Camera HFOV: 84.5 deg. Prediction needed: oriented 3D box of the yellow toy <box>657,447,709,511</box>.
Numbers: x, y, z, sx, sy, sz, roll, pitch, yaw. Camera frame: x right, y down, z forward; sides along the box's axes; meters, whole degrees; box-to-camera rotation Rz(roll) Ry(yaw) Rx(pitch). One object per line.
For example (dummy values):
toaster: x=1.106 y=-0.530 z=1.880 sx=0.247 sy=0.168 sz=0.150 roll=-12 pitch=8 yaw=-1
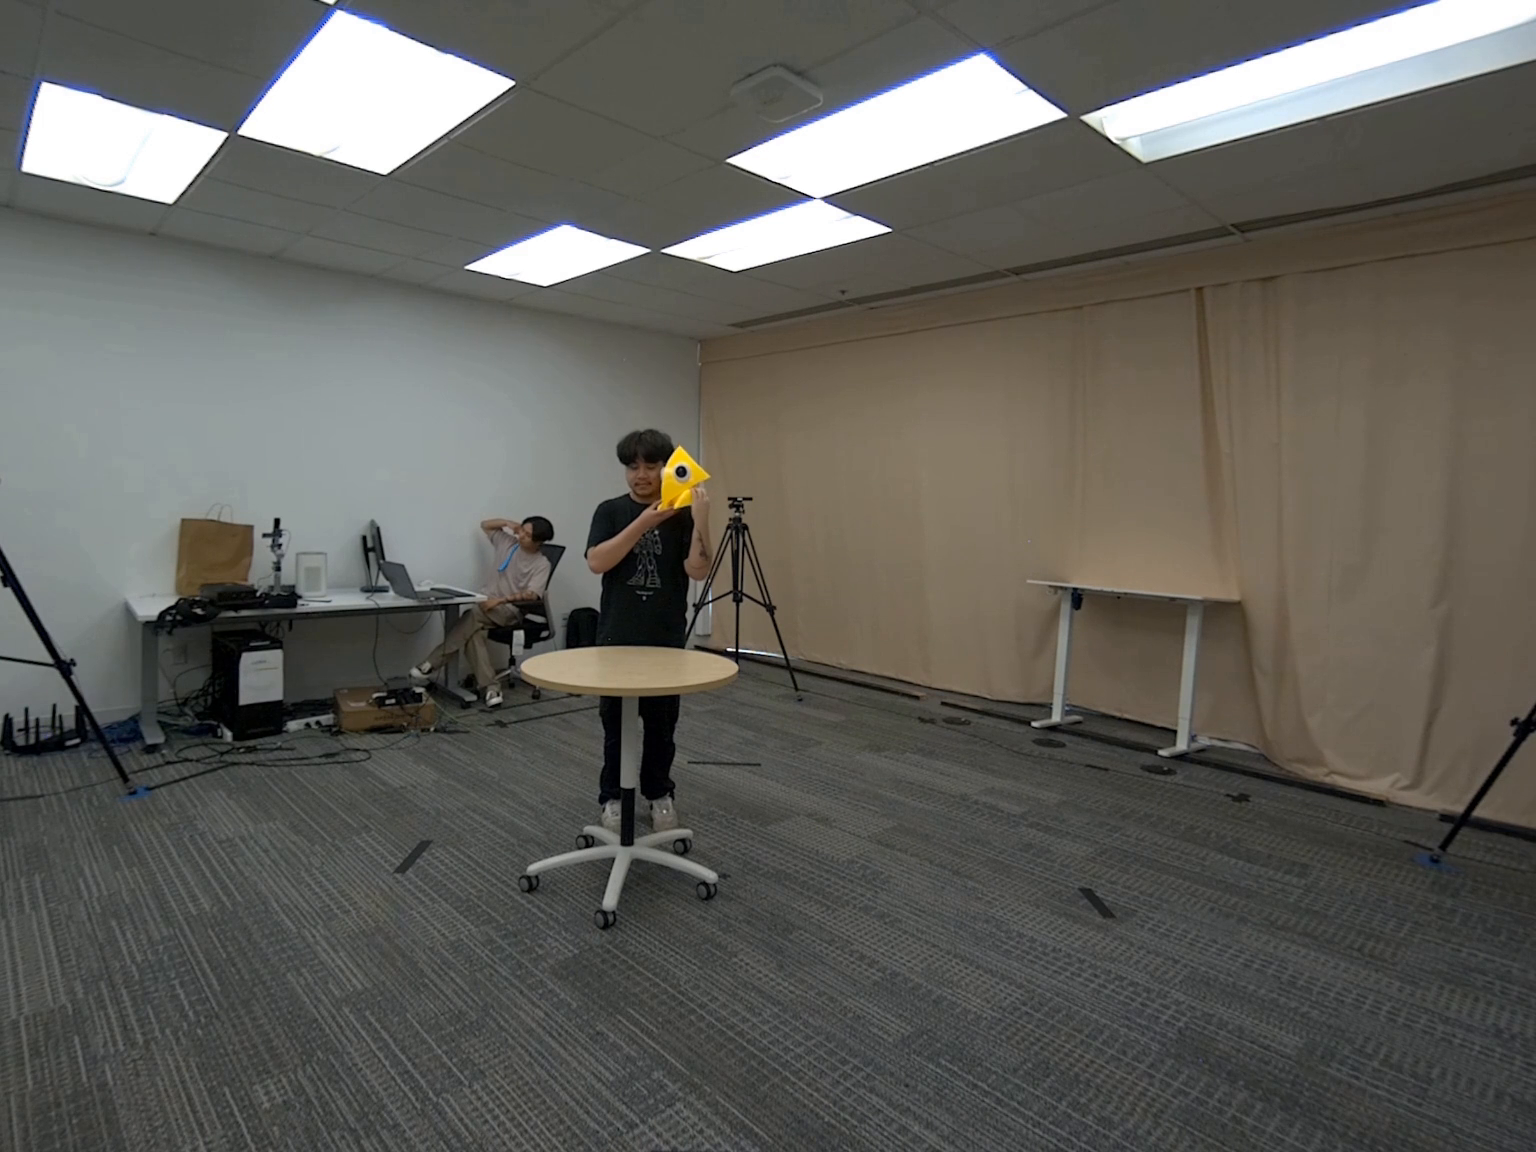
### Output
yellow toy: x=-0.378 y=-0.393 z=3.361 sx=0.190 sy=0.229 sz=0.209 roll=-22 pitch=10 yaw=-37
